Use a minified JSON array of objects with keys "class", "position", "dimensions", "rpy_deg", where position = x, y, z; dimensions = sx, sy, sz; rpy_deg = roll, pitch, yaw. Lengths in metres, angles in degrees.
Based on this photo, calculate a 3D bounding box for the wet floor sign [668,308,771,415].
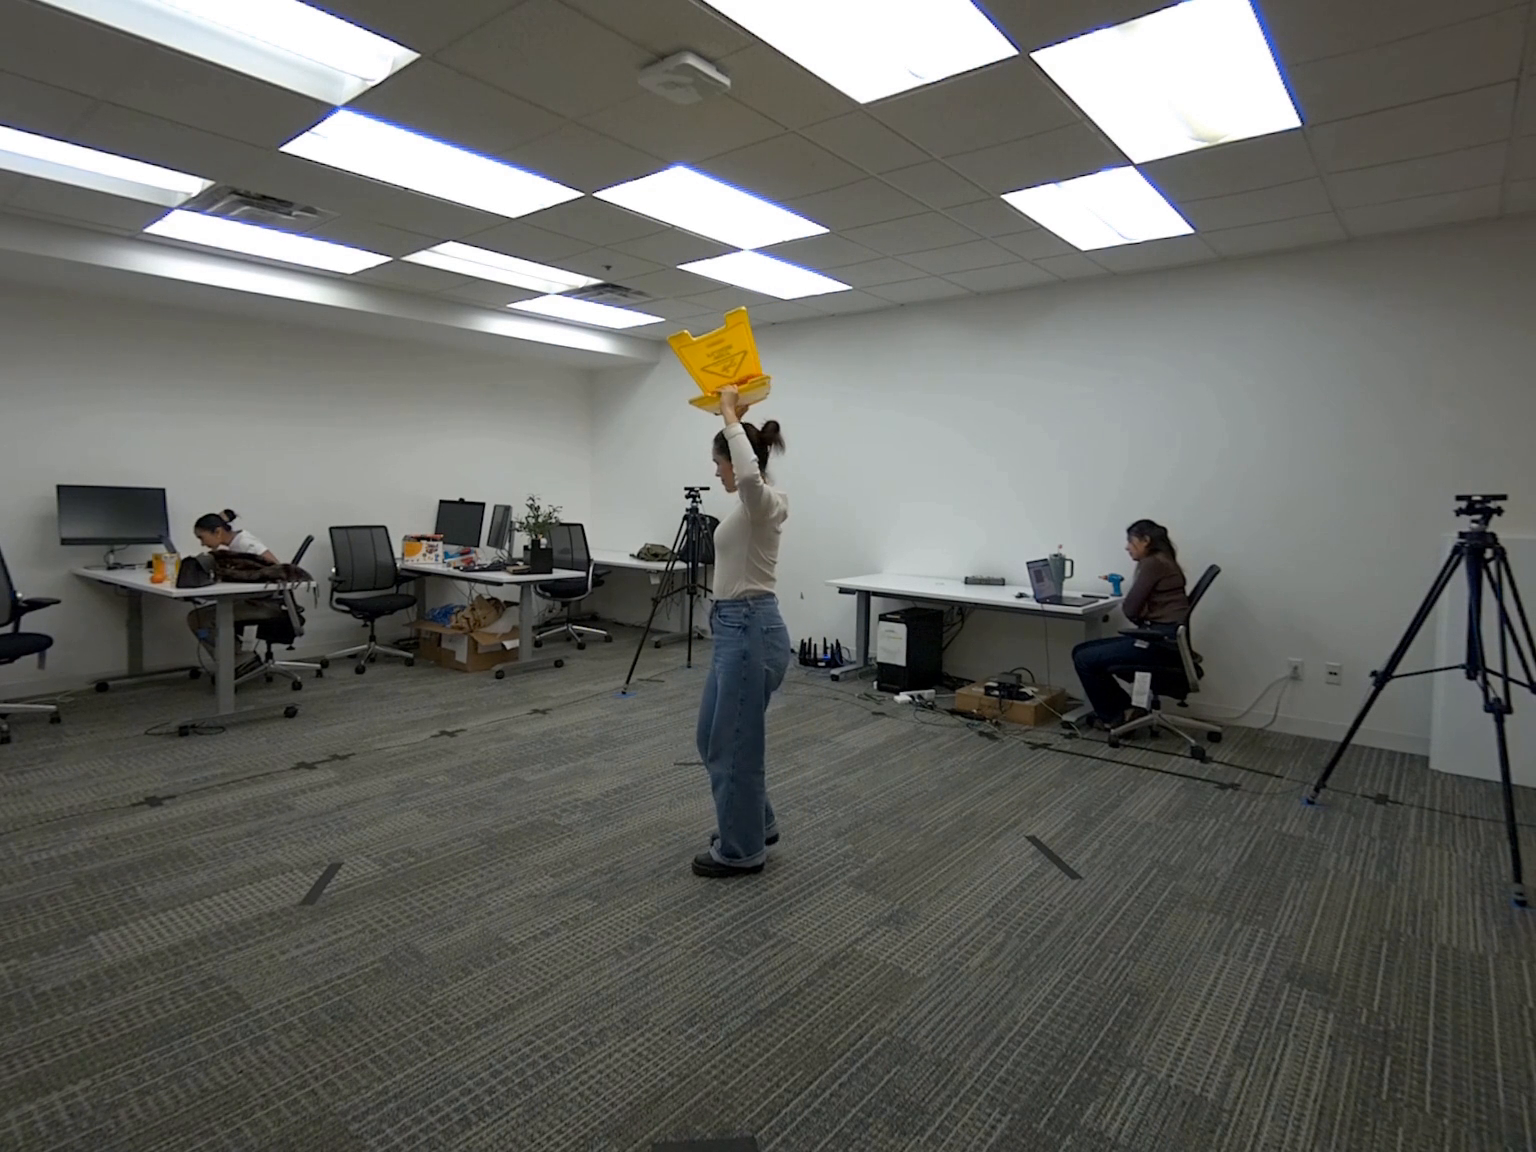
[{"class":"wet floor sign","position":[-0.141,-0.704,3.080],"dimensions":[0.283,0.292,0.639],"rpy_deg":[-20,-4,5]}]
